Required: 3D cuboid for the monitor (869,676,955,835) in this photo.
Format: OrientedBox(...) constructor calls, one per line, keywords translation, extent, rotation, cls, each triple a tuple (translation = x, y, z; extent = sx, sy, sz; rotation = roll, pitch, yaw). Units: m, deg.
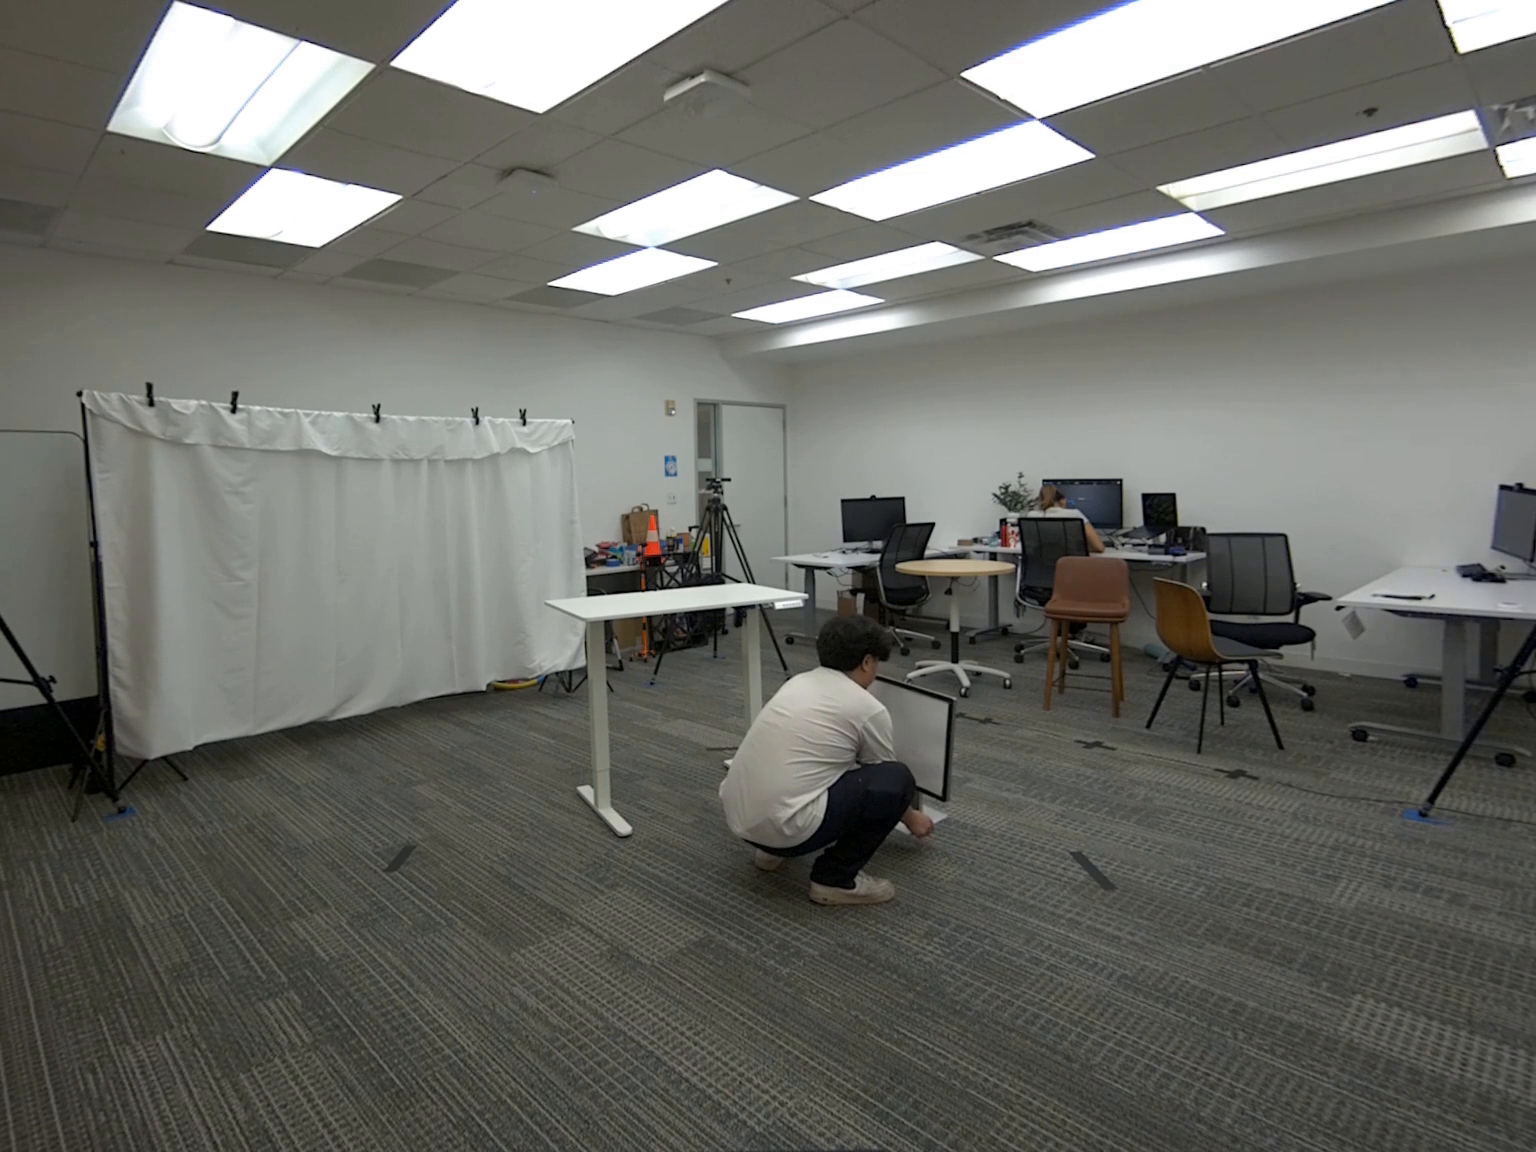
OrientedBox(translation=(0.513, 0.649, 3.206), extent=(0.205, 0.551, 0.583), rotation=(-4, 7, -35), cls="monitor")
